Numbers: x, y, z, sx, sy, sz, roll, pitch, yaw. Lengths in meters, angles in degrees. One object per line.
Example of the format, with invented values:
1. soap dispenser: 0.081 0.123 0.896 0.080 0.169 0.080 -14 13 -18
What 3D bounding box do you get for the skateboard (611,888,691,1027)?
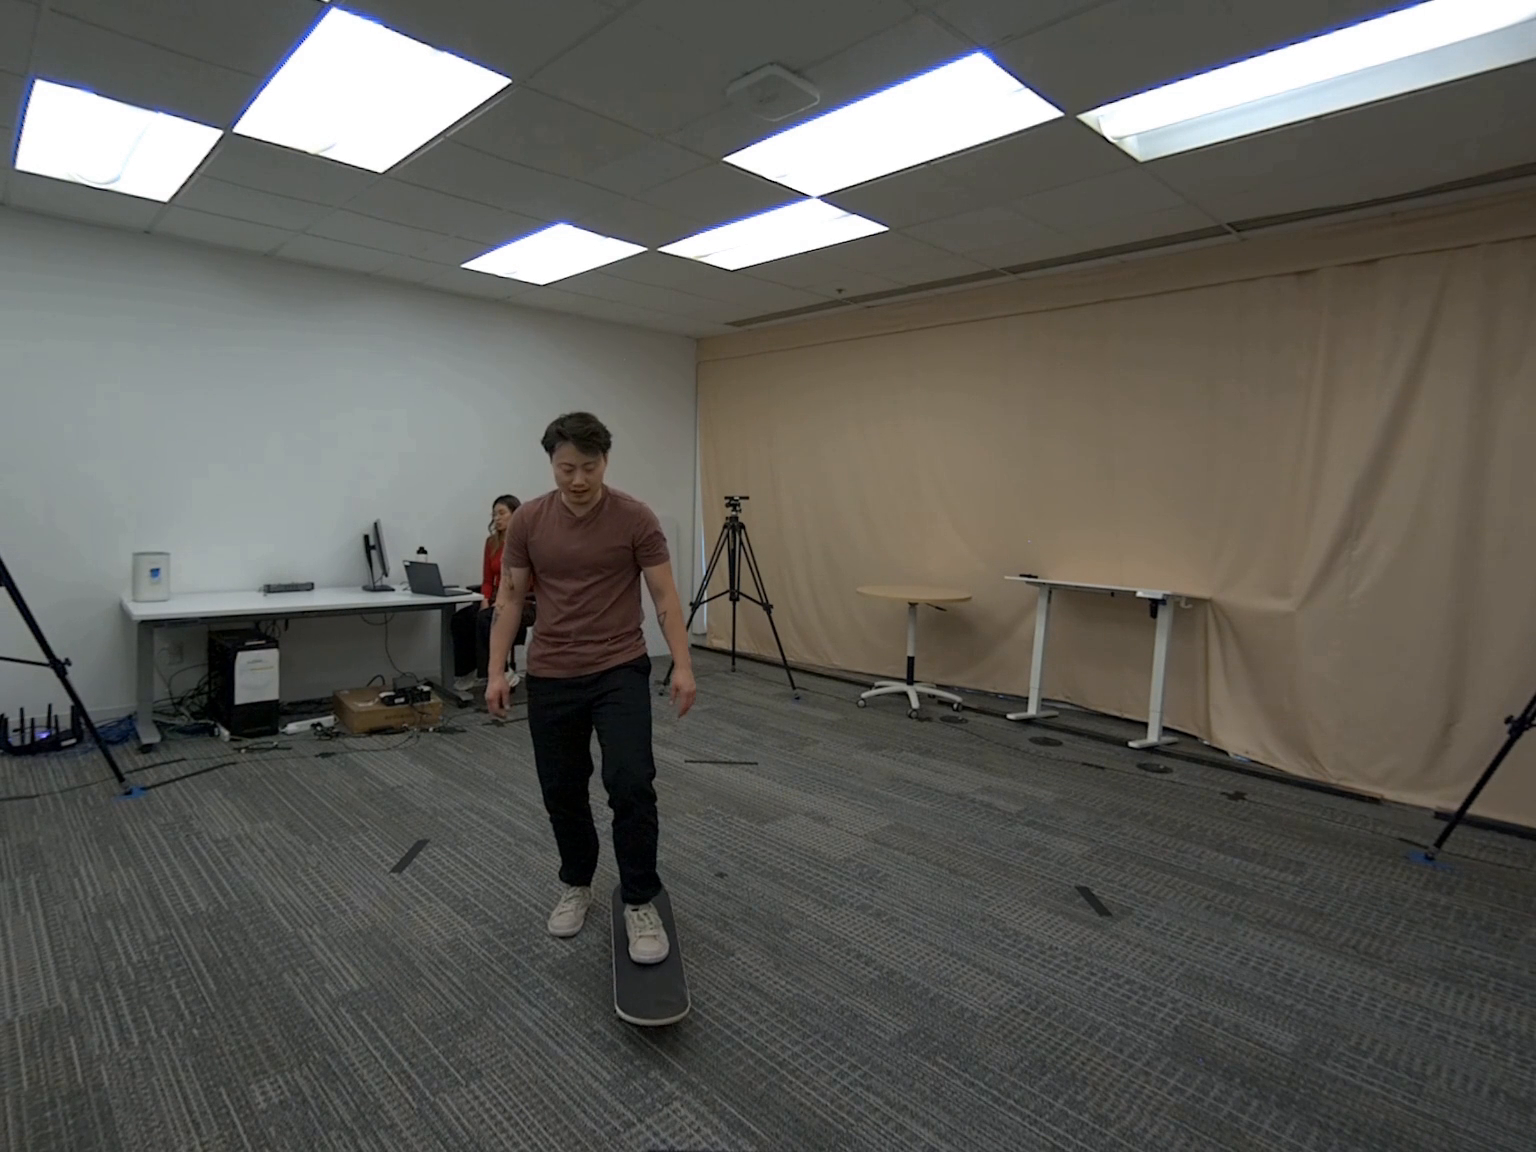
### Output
1. skateboard: -0.360 1.106 2.446 0.192 0.110 0.795 1 6 -13
